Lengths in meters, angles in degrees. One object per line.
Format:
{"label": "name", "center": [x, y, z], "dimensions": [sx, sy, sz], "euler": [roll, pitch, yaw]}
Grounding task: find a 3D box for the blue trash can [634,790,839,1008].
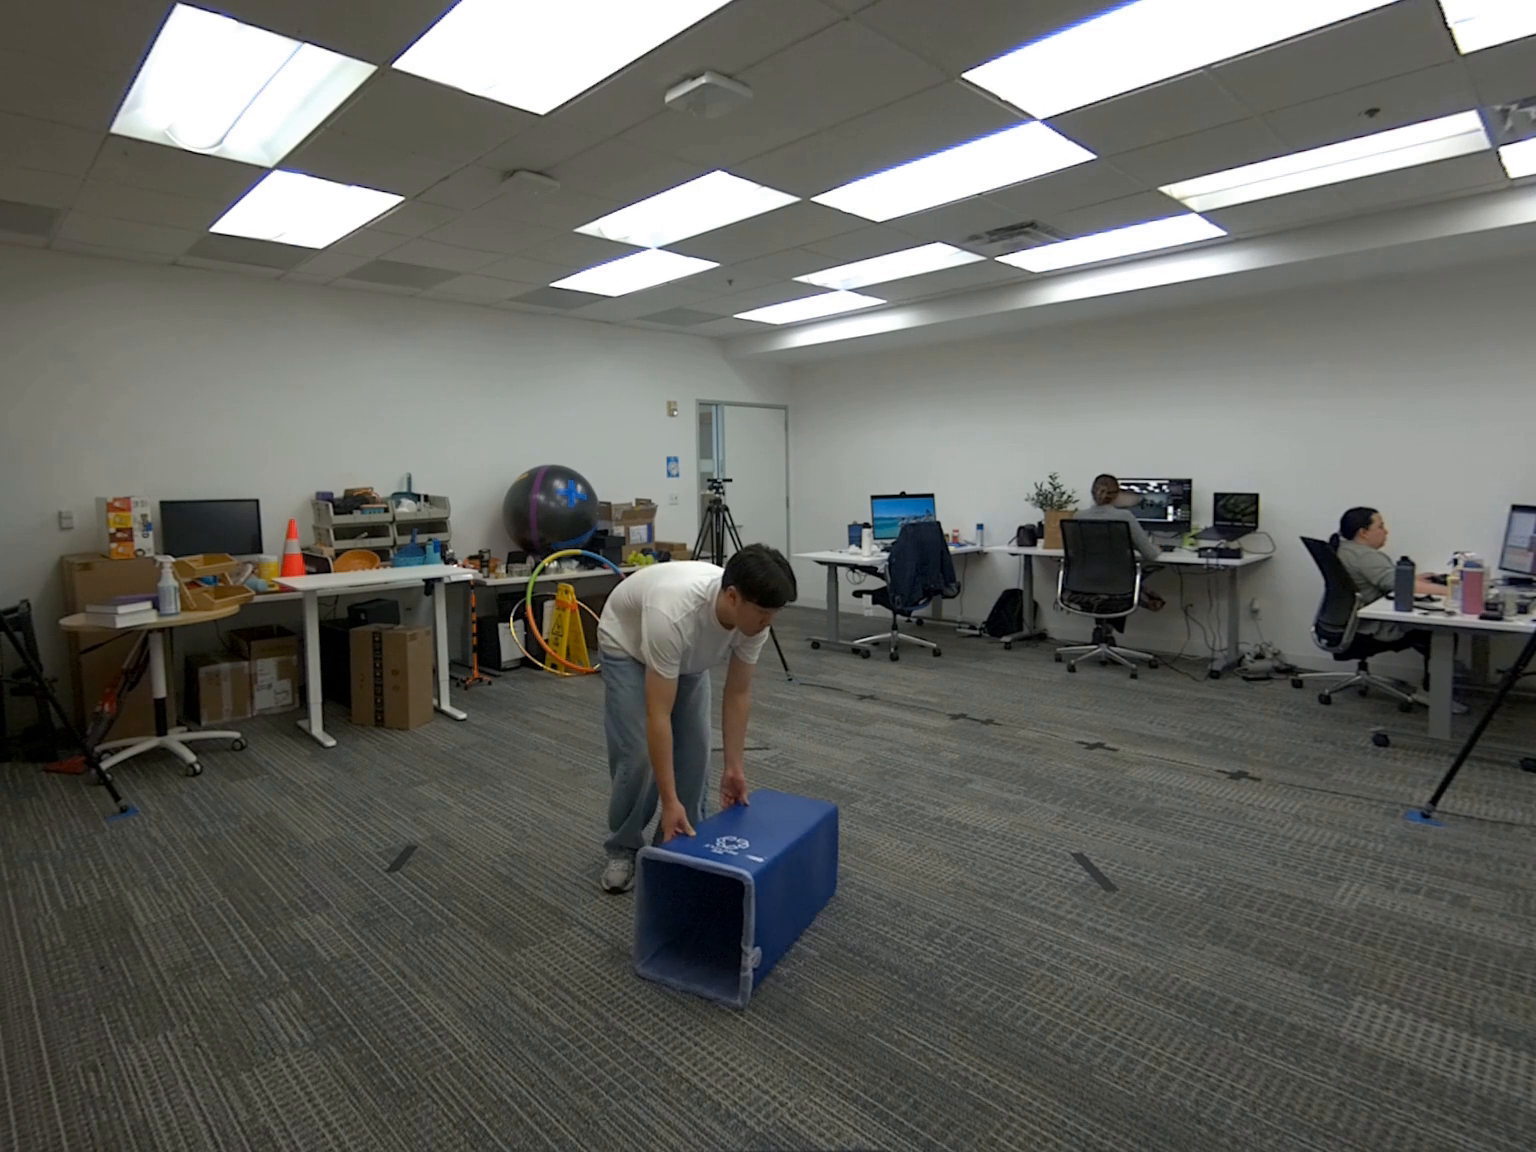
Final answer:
{"label": "blue trash can", "center": [-0.060, 0.932, 2.633], "dimensions": [0.383, 0.377, 0.697], "euler": [3, 4, 27]}
